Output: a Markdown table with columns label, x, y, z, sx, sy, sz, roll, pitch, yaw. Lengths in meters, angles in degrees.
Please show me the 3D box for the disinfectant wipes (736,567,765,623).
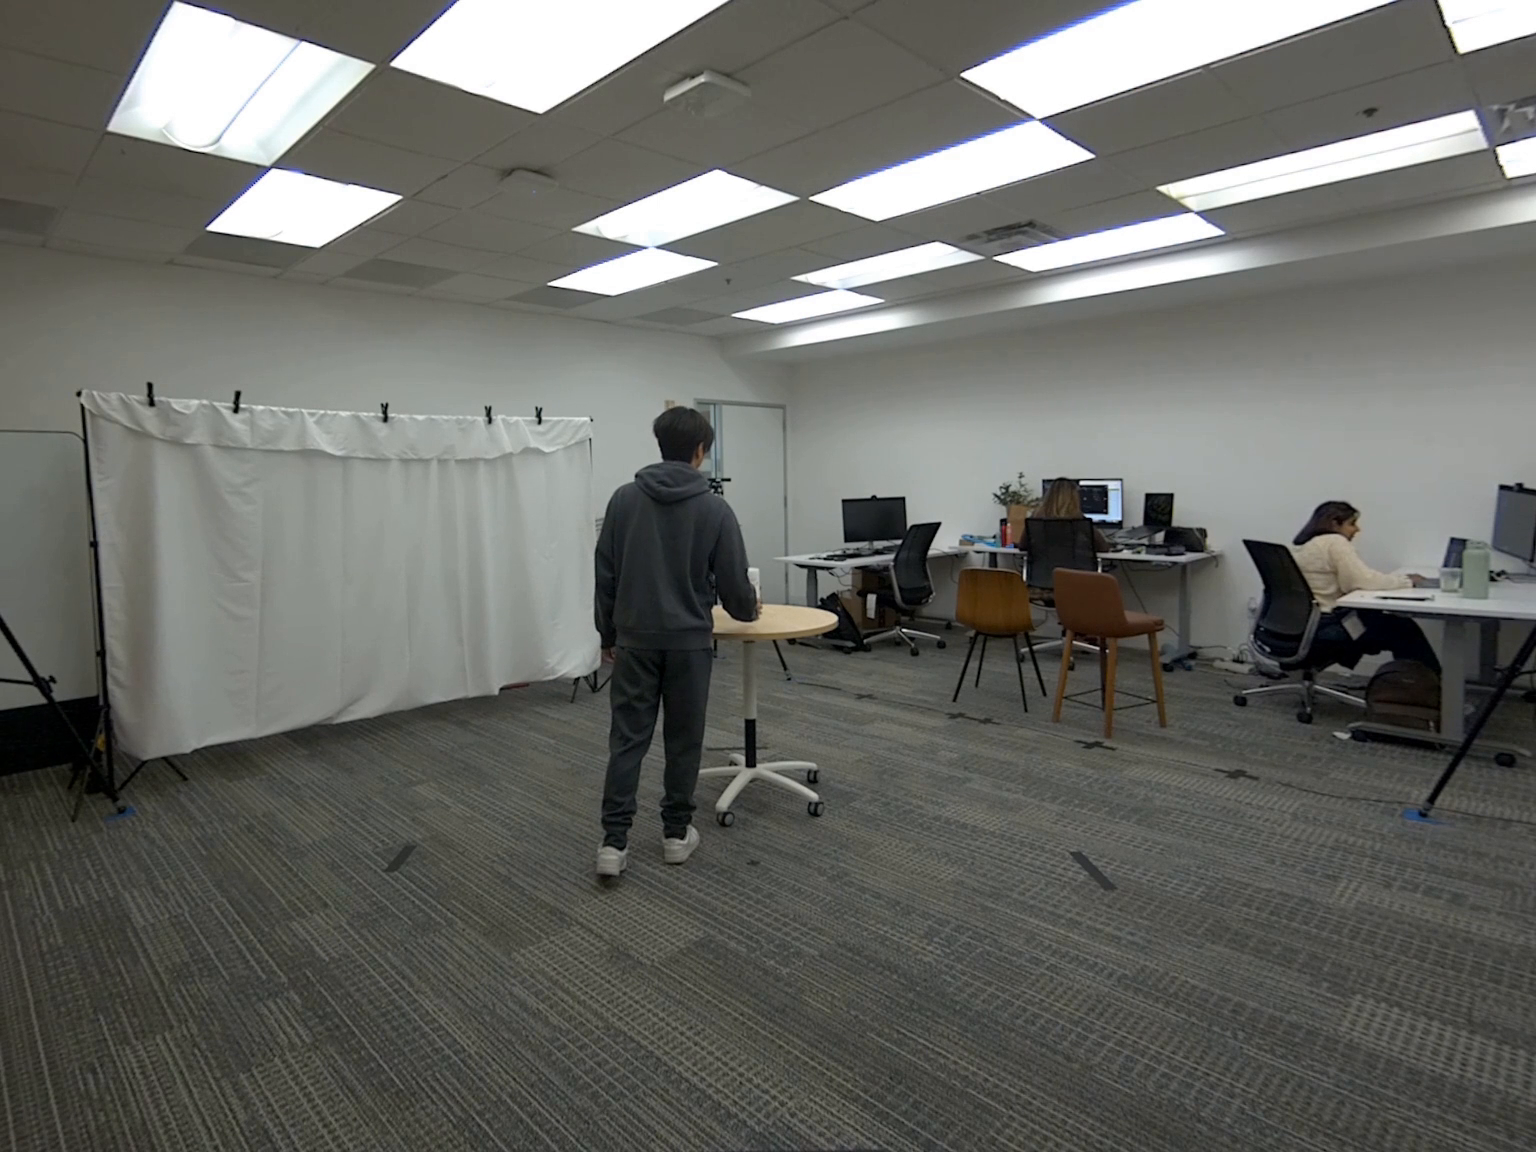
| label | x | y | z | sx | sy | sz | roll | pitch | yaw |
| --- | --- | --- | --- | --- | --- | --- | --- | --- | --- |
| disinfectant wipes | -0.080 | 0.077 | 3.656 | 0.118 | 0.217 | 0.118 | 0 | 4 | -2 |
